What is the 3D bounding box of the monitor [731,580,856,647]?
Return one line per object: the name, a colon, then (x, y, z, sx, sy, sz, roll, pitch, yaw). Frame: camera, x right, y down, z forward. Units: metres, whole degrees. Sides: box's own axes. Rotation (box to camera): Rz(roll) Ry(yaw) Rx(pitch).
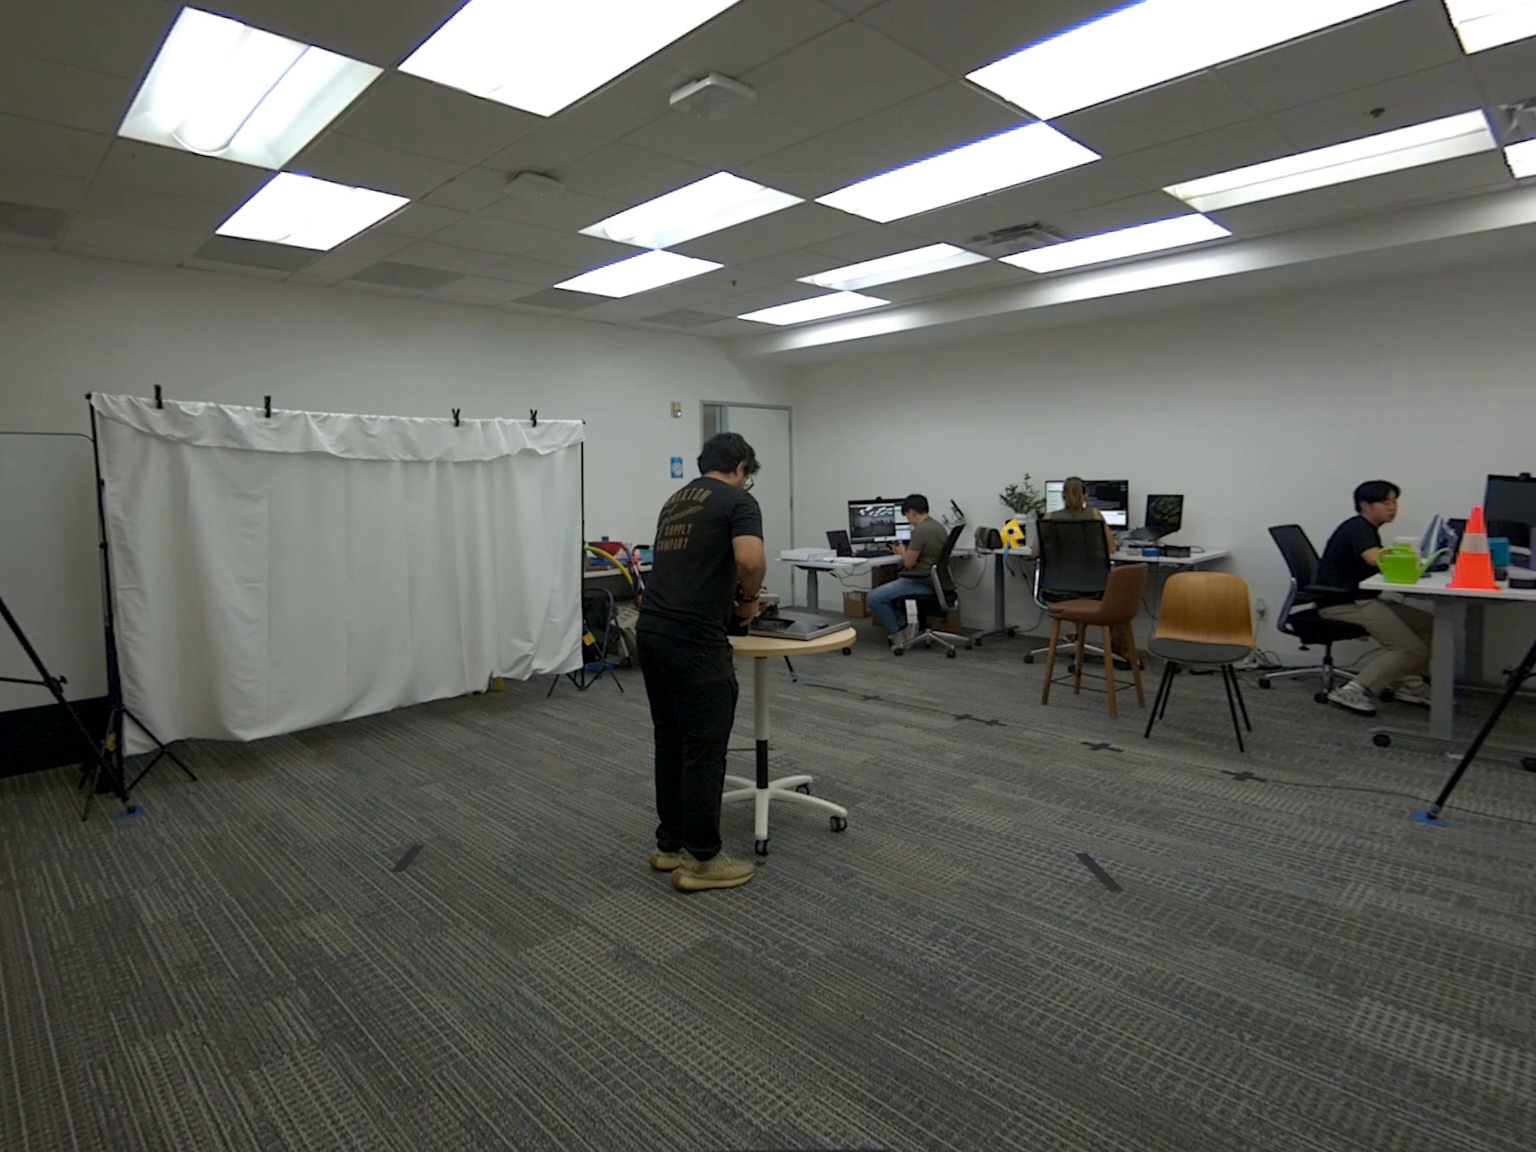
monitor: (-0.030, 0.131, 3.449, 0.581, 0.210, 0.539, 3, 1, 33)
